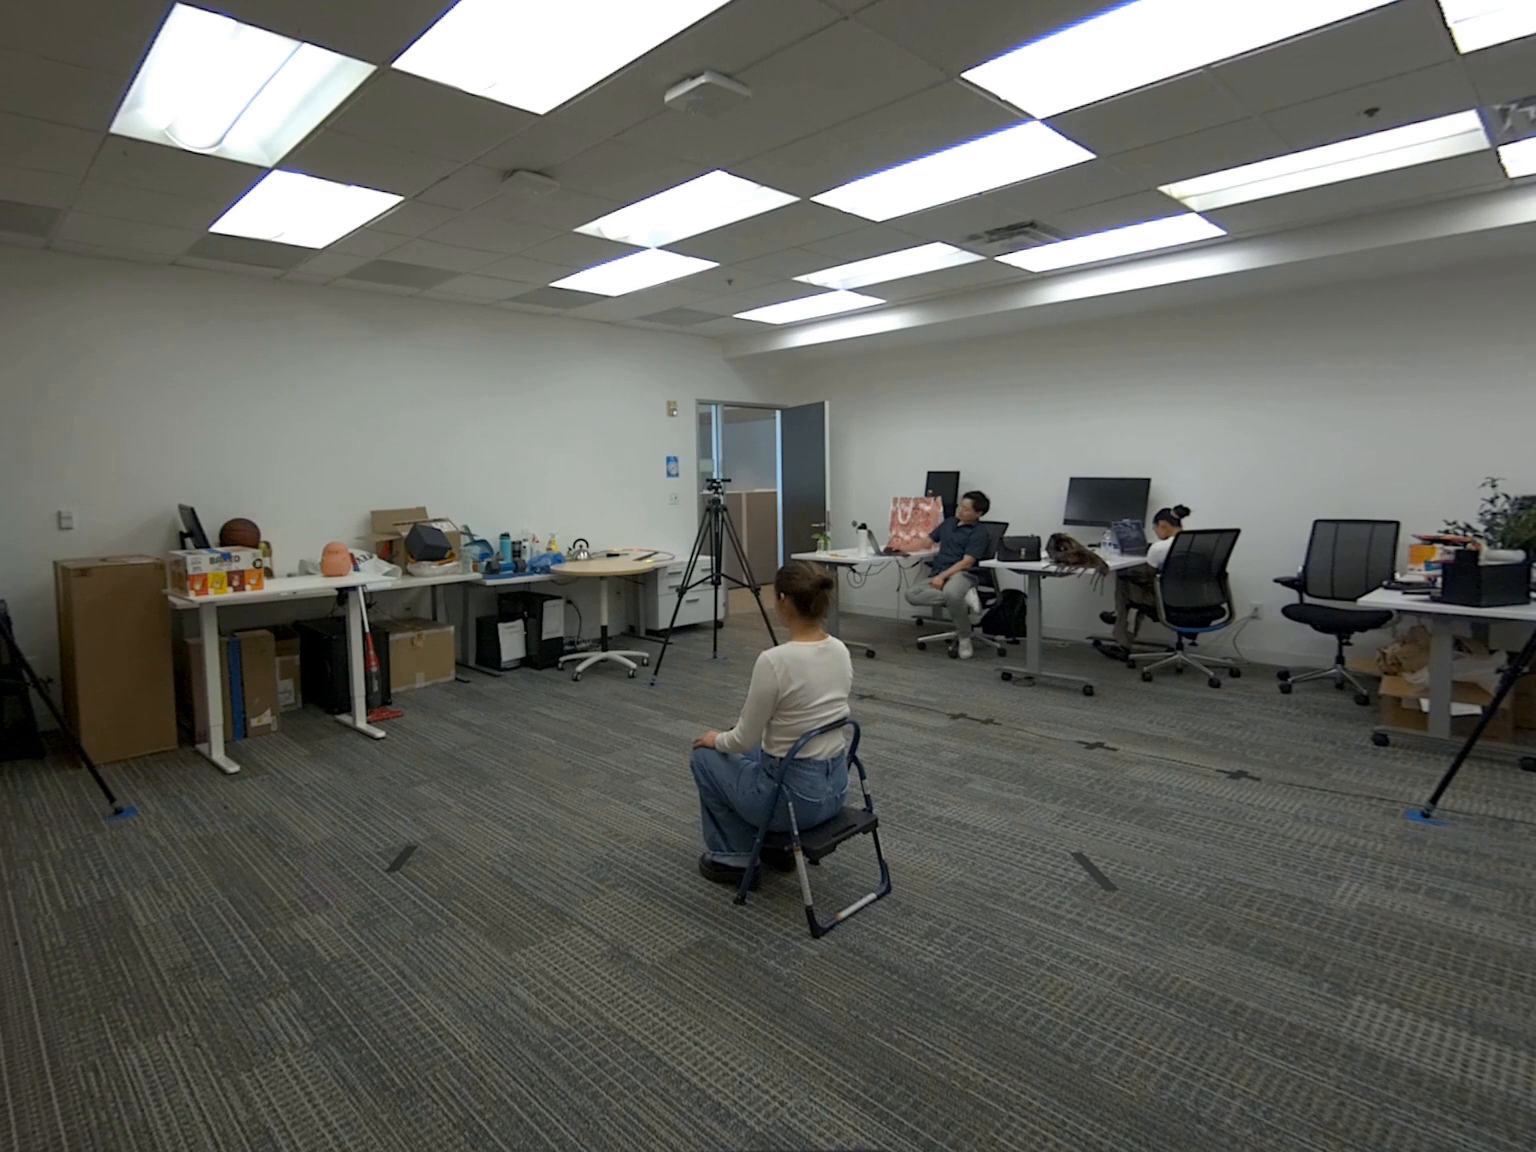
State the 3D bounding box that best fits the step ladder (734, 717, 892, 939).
[{"bbox_3d":[0.154,0.767,2.828,0.360,0.604,0.419,3,6,42],"label":"step ladder"}]
